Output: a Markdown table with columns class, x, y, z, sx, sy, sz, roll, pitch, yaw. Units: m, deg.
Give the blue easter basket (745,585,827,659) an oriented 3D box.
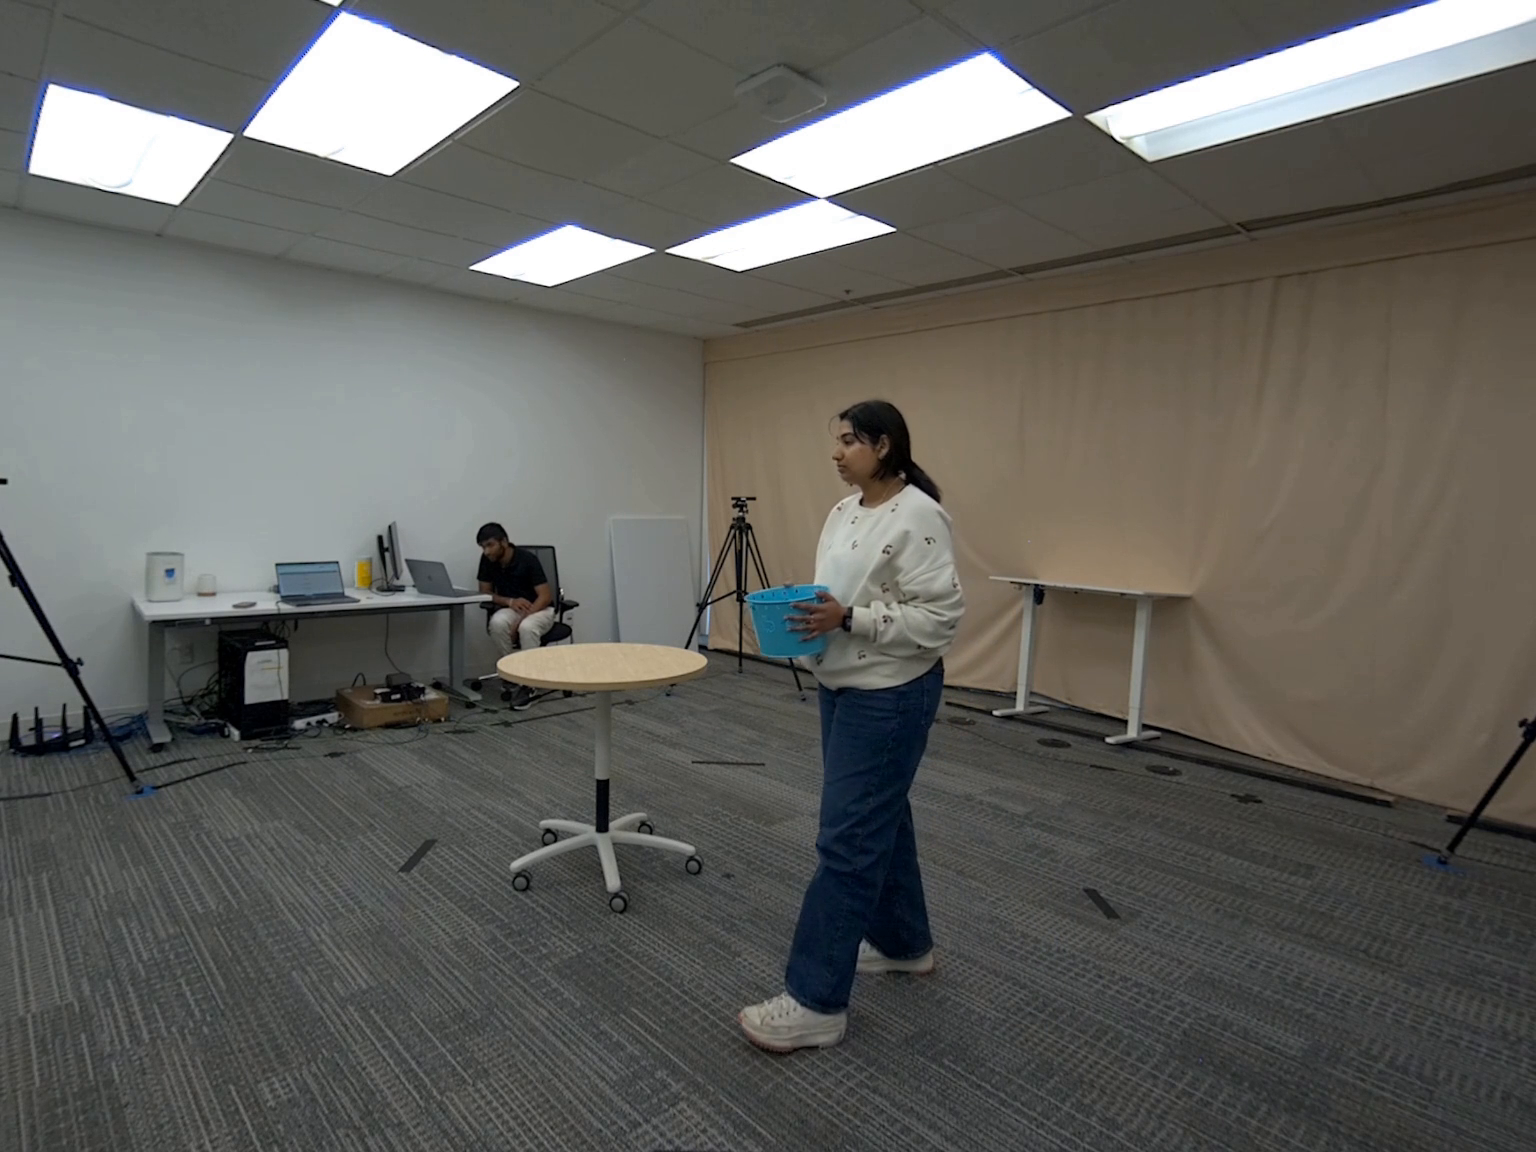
| class | x | y | z | sx | sy | sz | roll | pitch | yaw |
| --- | --- | --- | --- | --- | --- | --- | --- | --- | --- |
| blue easter basket | 0.058 | 0.120 | 2.243 | 0.243 | 0.155 | 0.245 | -4 | 7 | -1 |
